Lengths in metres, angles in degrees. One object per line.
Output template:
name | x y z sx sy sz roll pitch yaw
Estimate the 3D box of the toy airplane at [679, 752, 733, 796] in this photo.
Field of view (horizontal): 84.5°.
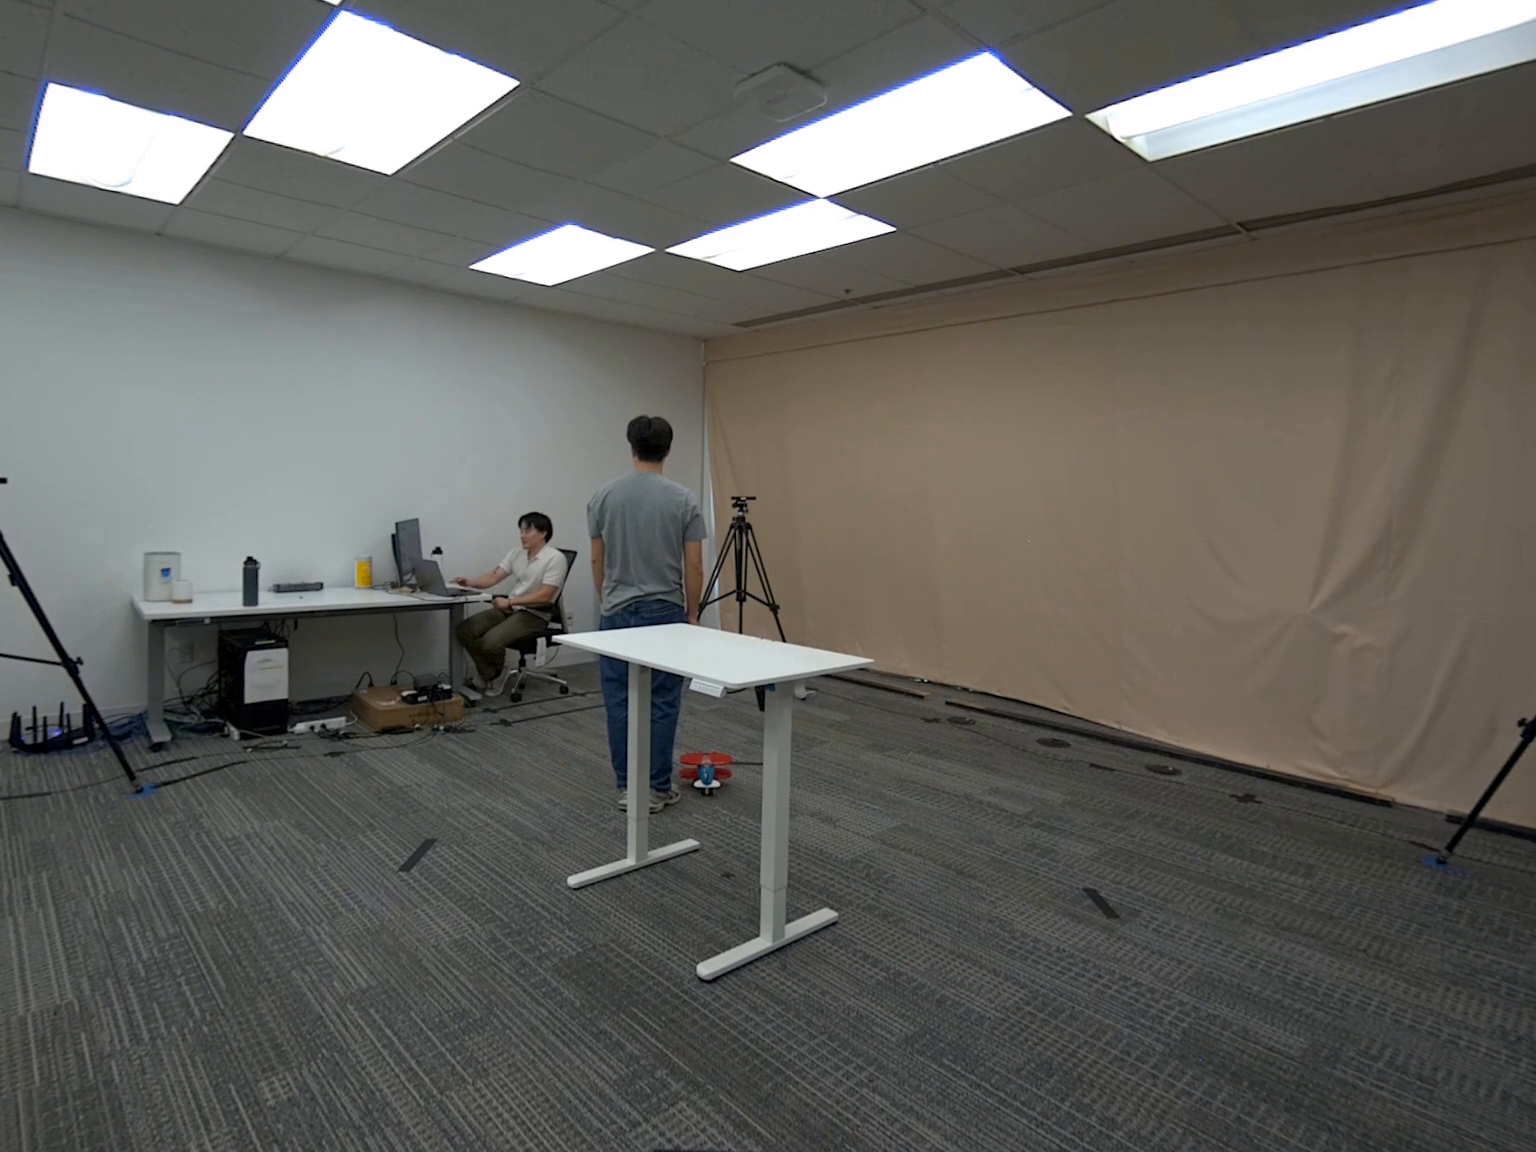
toy airplane | -0.290 0.943 4.041 0.246 0.156 0.265 -2 4 -34
